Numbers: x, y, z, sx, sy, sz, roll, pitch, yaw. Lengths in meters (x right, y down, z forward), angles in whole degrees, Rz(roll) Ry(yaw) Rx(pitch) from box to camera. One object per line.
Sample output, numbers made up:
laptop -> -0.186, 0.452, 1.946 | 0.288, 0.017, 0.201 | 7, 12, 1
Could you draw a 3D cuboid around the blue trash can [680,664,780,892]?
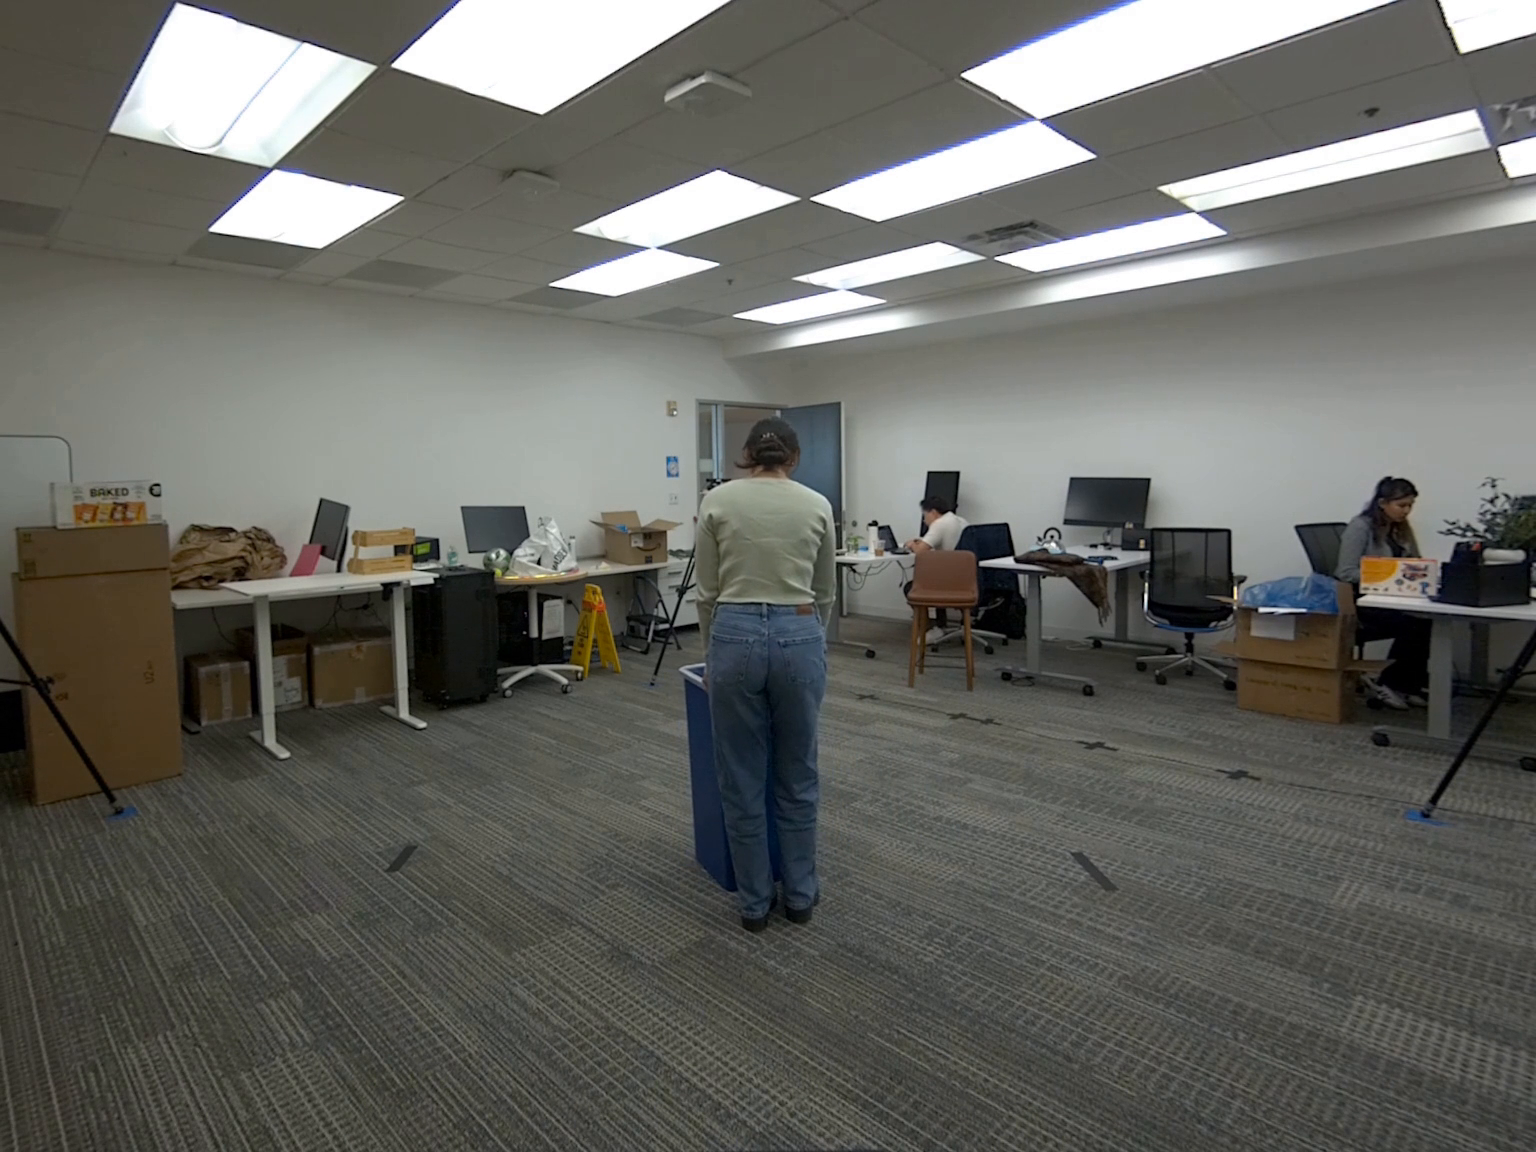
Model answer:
blue trash can -> -0.078, 0.691, 3.055 | 0.366, 0.711, 0.387 | -3, 4, -25
